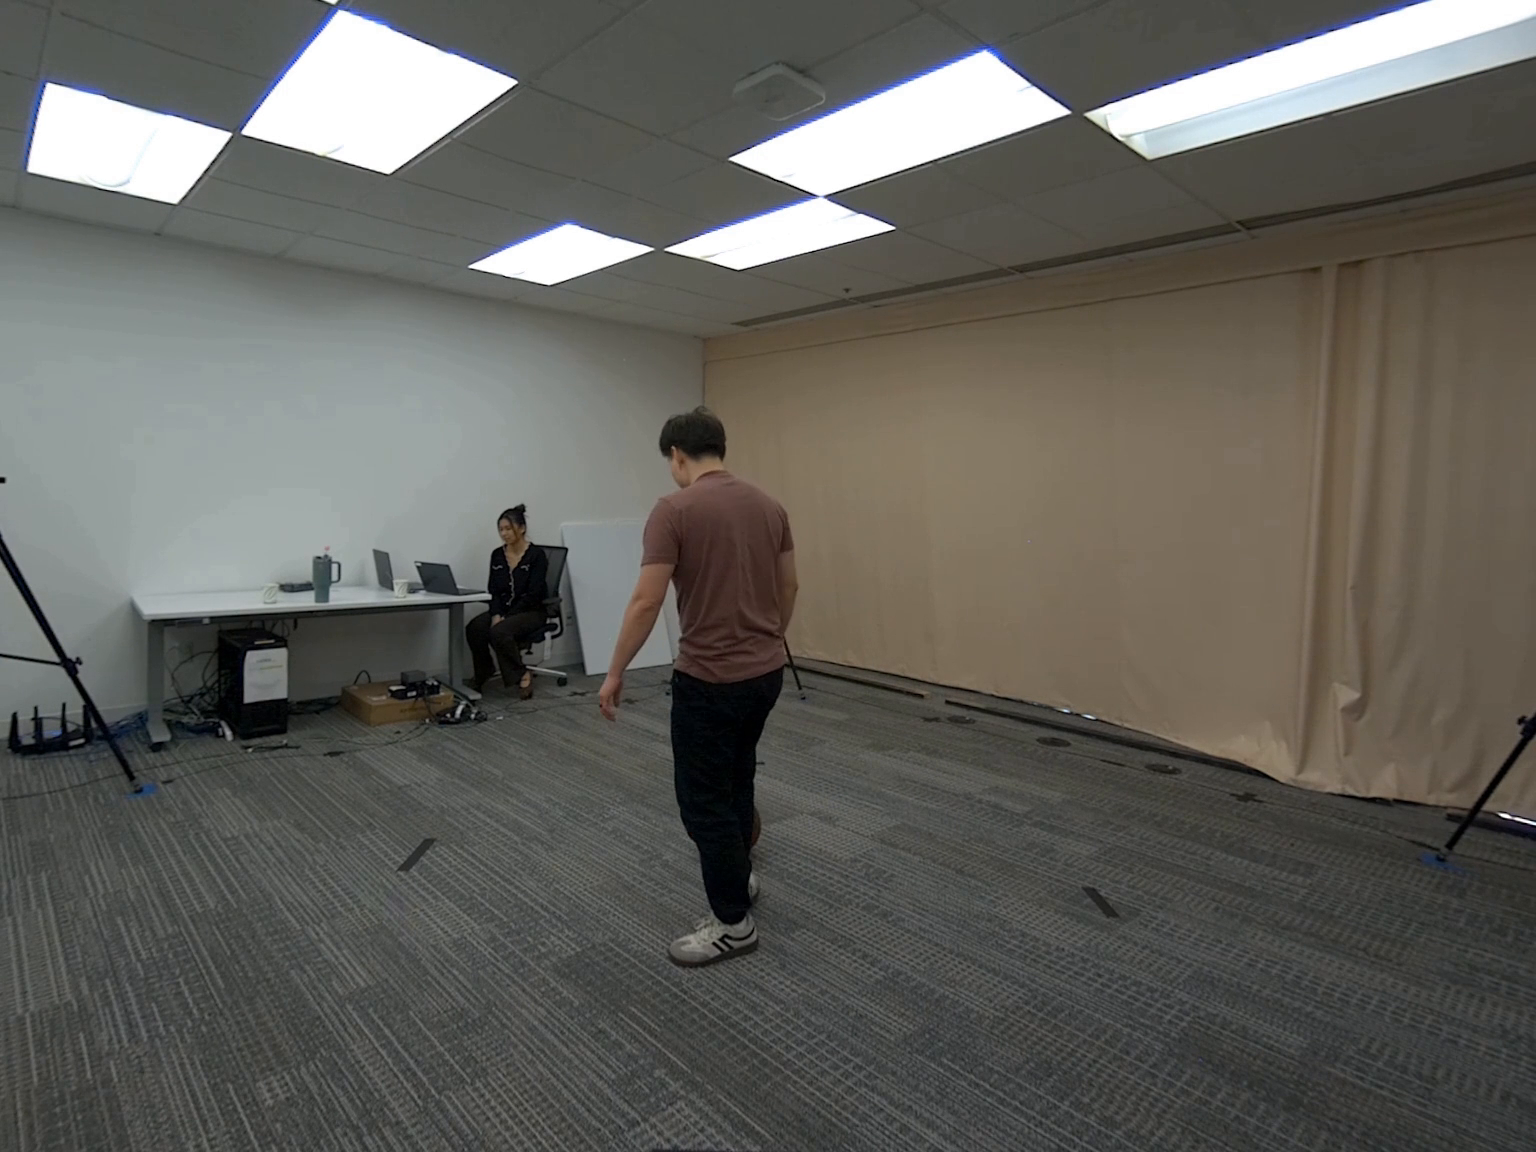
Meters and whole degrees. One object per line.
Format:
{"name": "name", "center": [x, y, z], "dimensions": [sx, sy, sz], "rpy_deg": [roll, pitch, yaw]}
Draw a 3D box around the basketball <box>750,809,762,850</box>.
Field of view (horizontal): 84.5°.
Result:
{"name": "basketball", "center": [-0.147, 0.973, 3.270], "dimensions": [0.236, 0.235, 0.237], "rpy_deg": [1, 4, -1]}
